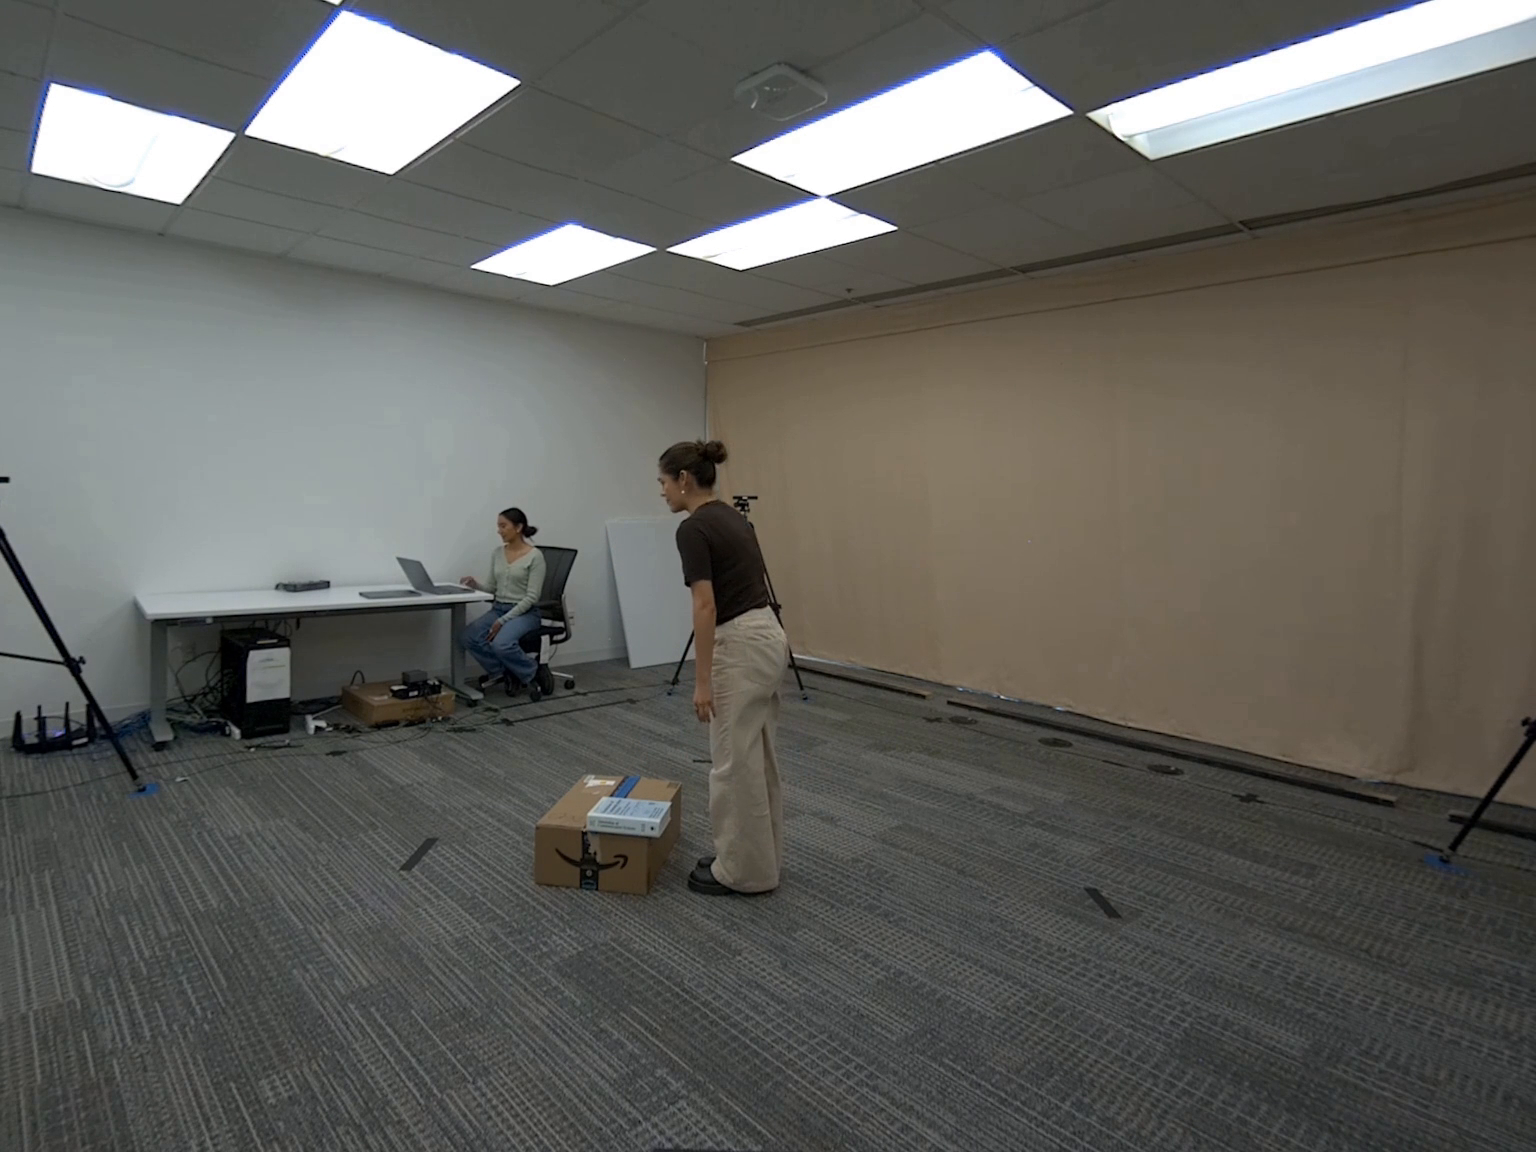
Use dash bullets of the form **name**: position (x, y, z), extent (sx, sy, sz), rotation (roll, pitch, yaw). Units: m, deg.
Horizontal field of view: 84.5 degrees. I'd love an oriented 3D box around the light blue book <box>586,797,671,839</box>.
- **light blue book**: position (-0.493, 0.853, 3.011), extent (0.263, 0.059, 0.190), rotation (3, 4, 7)
